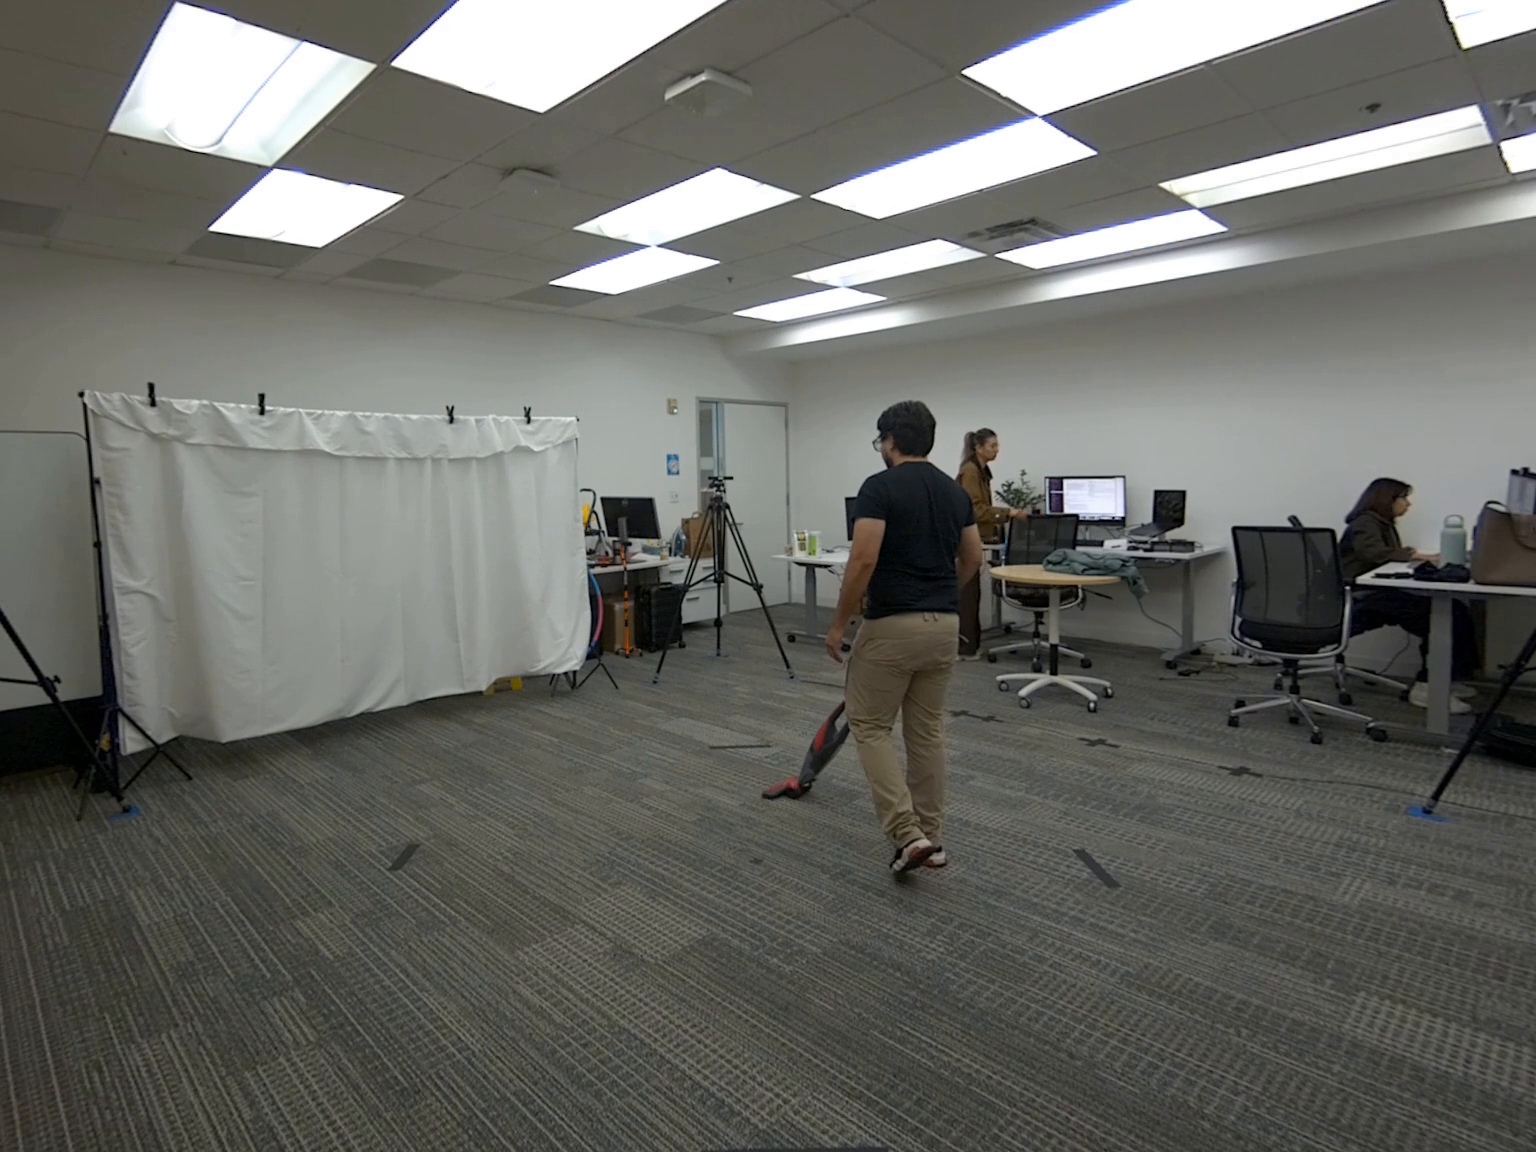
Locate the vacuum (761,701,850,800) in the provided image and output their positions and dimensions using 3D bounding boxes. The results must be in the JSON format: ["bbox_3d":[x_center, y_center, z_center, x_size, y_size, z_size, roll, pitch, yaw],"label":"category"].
[{"bbox_3d":[0.344,0.559,3.550,0.148,1.042,0.246,45,29,25],"label":"vacuum"}]
